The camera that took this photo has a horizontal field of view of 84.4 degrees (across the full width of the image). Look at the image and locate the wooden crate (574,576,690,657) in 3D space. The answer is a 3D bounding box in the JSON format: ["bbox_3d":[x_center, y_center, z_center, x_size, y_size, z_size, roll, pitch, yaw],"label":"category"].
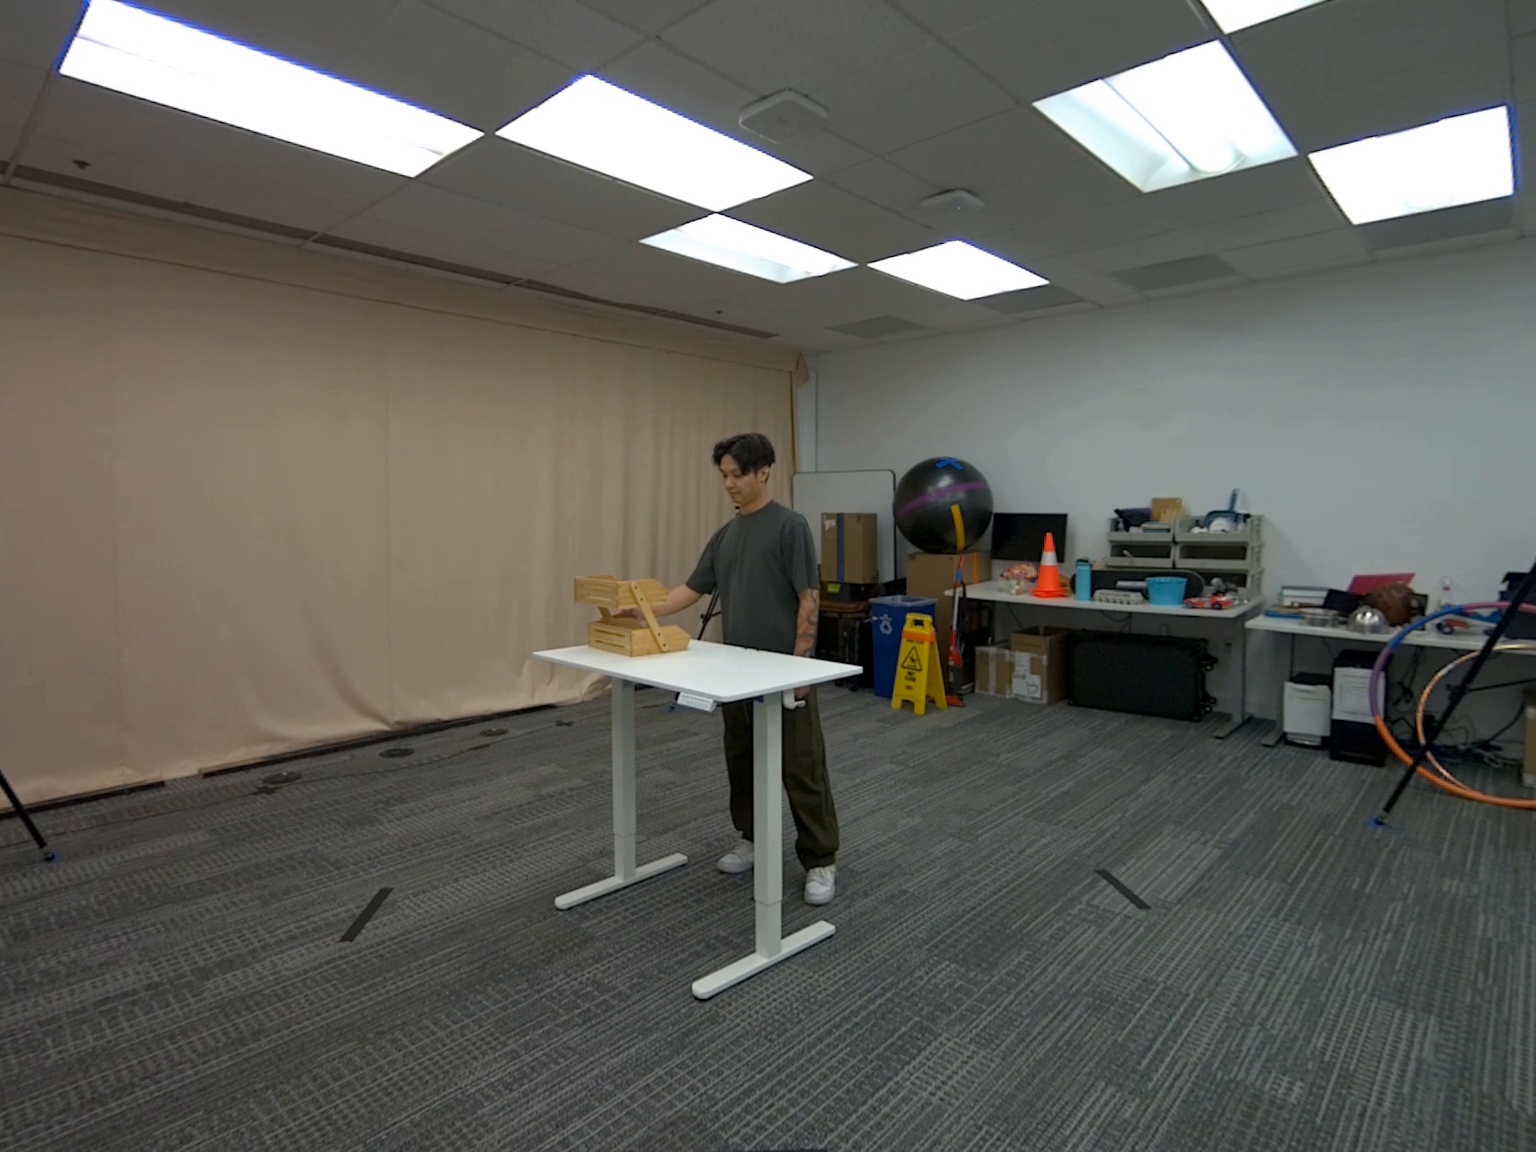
[{"bbox_3d":[-0.485,0.132,3.034,0.293,0.273,0.335,-4,5,-40],"label":"wooden crate"}]
